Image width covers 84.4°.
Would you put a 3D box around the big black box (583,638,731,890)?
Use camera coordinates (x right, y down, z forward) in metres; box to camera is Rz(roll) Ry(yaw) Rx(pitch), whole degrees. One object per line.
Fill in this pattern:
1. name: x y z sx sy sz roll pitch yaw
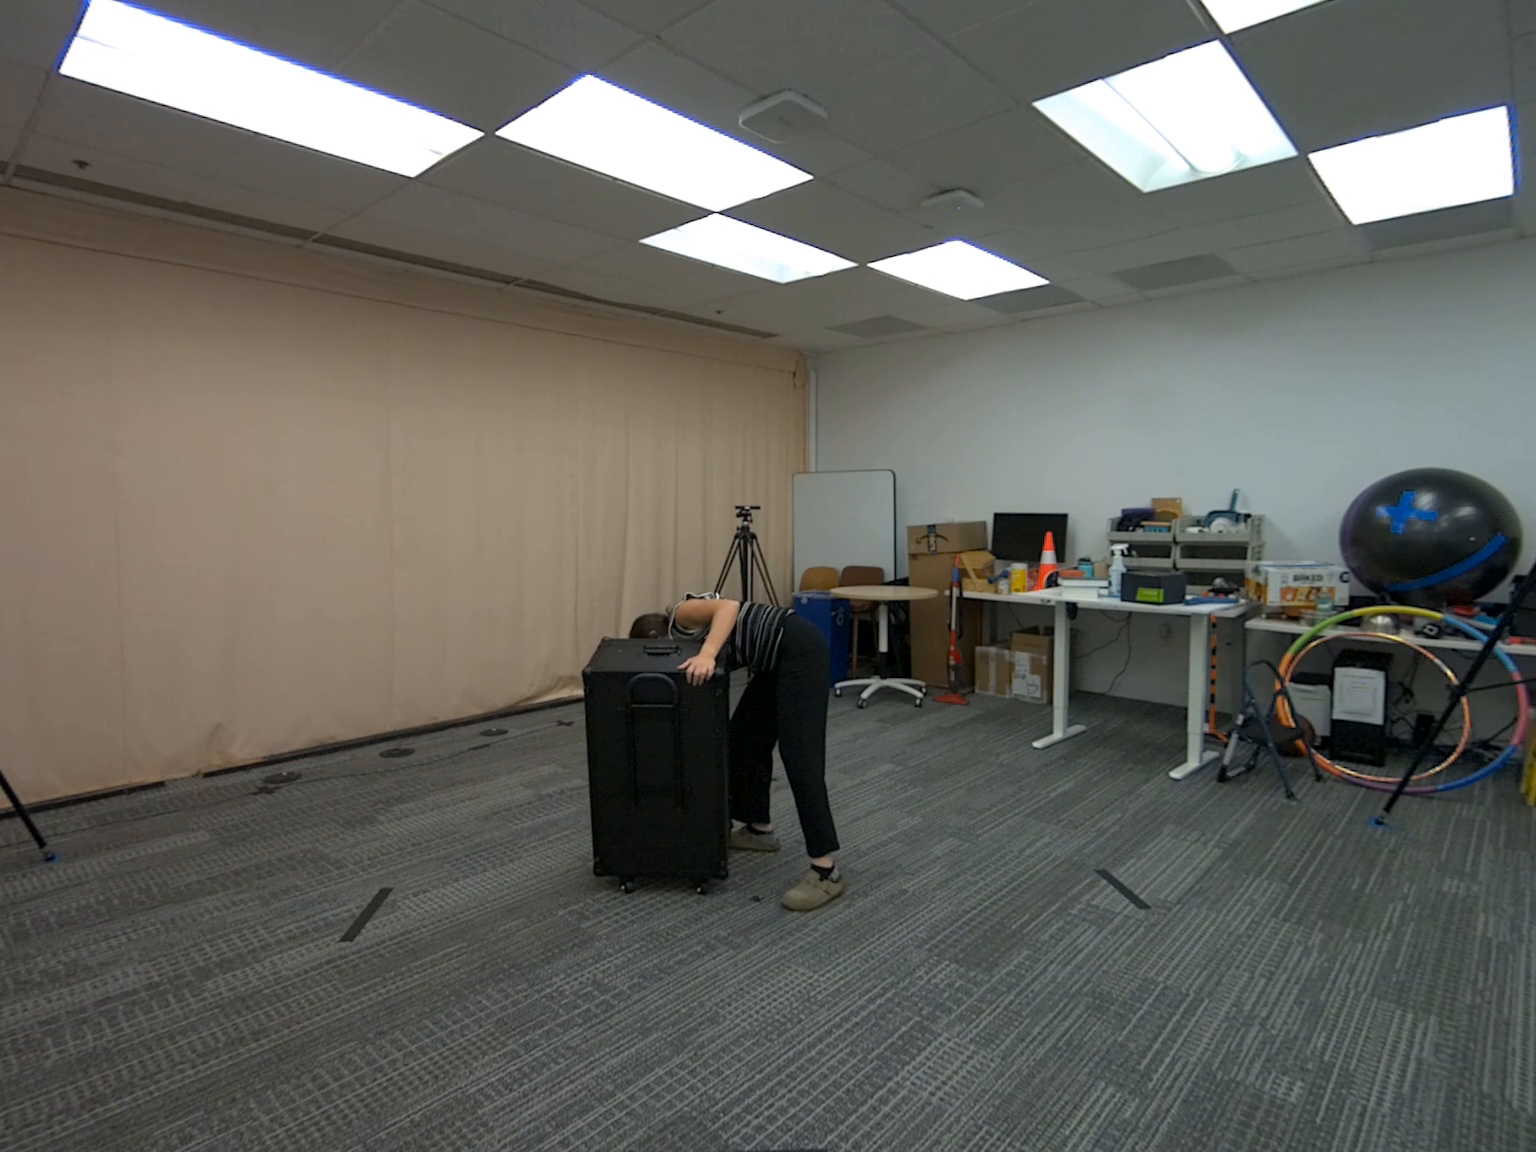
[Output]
1. big black box: -0.380 0.687 3.092 0.523 0.856 0.397 0 10 3
